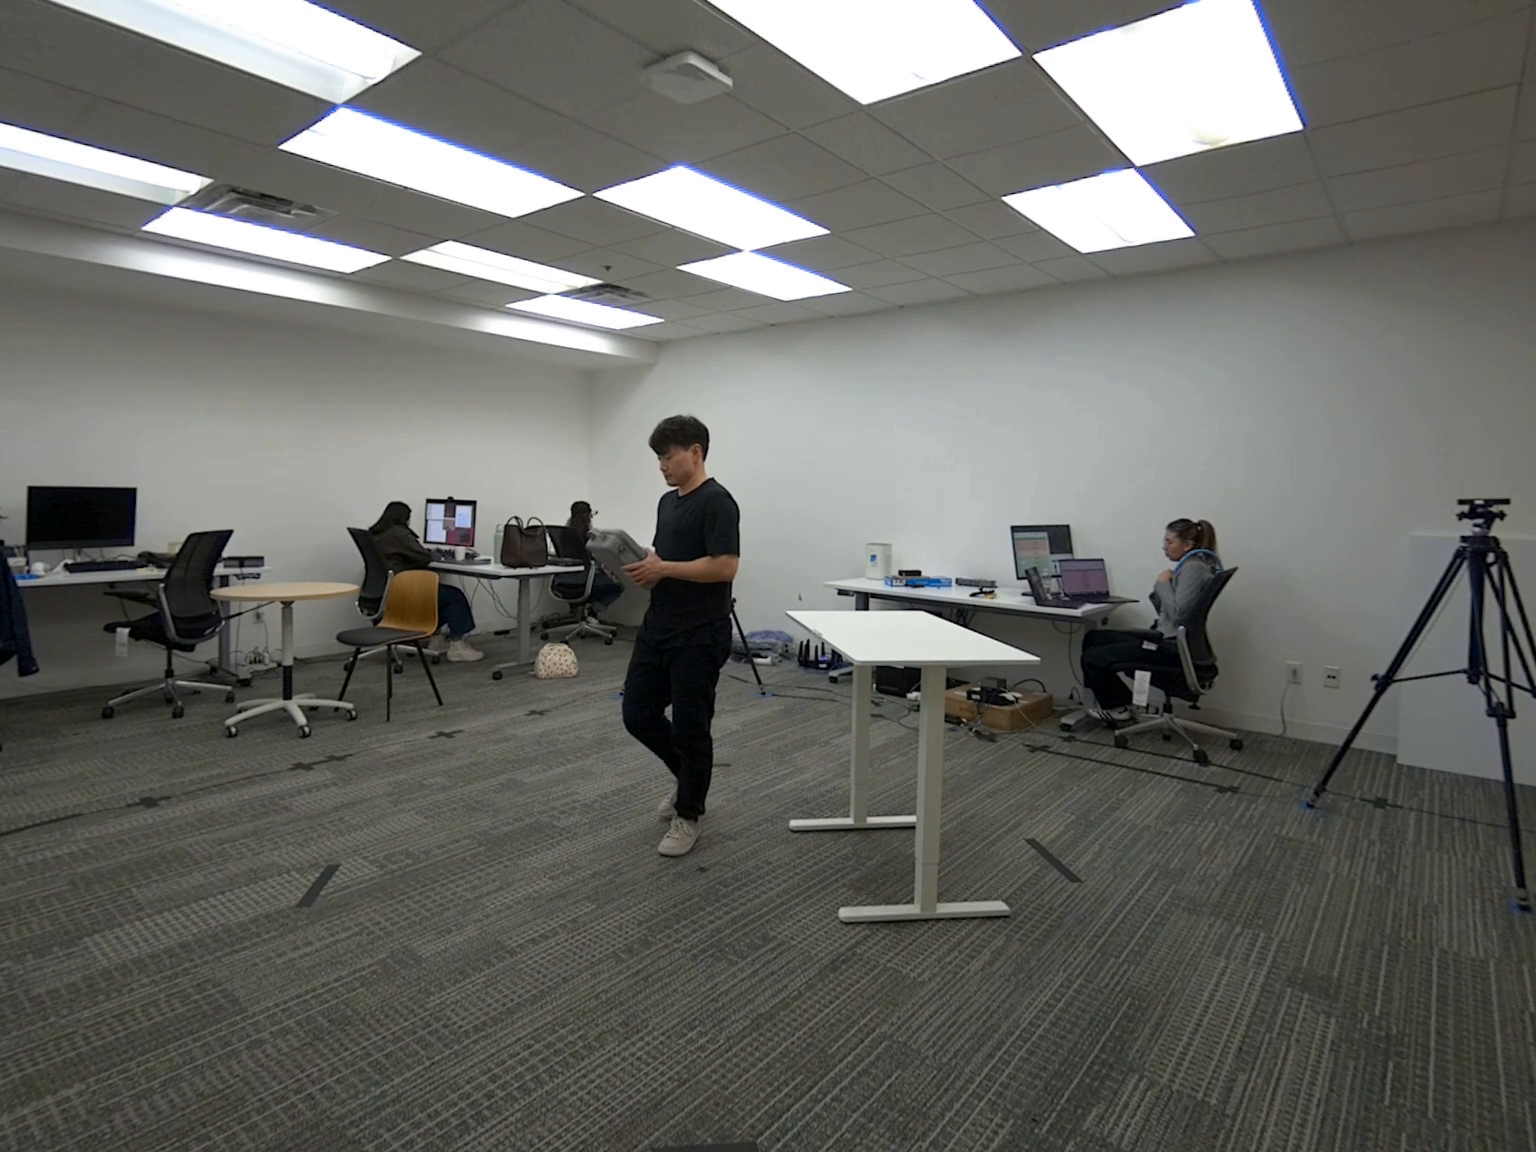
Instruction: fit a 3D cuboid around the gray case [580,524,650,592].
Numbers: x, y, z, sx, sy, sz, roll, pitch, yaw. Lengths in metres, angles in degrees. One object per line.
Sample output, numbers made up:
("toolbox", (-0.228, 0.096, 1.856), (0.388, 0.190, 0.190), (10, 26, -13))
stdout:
("gray case", (-0.549, -0.071, 3.219), (0.252, 0.104, 0.265), (46, -19, -25))
